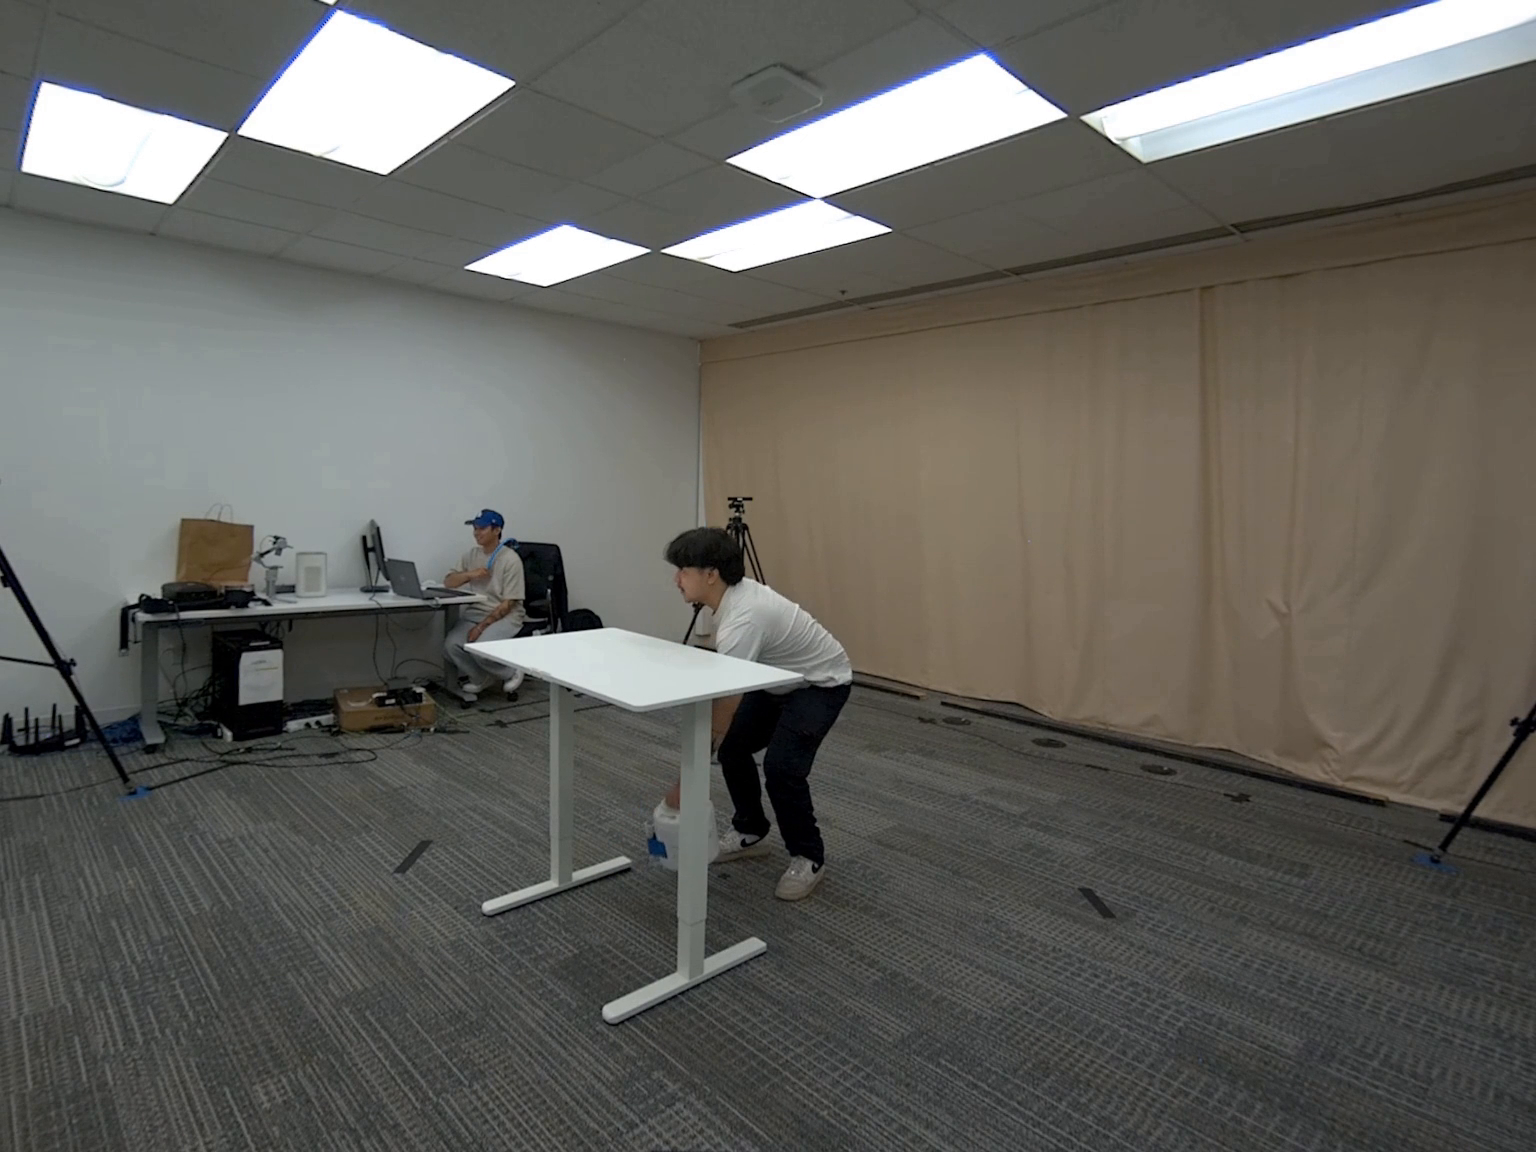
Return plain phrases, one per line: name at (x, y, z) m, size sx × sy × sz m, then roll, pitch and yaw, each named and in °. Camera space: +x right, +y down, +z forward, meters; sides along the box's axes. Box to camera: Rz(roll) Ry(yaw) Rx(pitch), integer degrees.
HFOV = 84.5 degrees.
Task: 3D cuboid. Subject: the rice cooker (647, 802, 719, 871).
rice cooker at (-0.287, 0.859, 2.838) m, size 0.225 × 0.231 × 0.214 m, roll 0°, pitch 12°, yaw 36°
